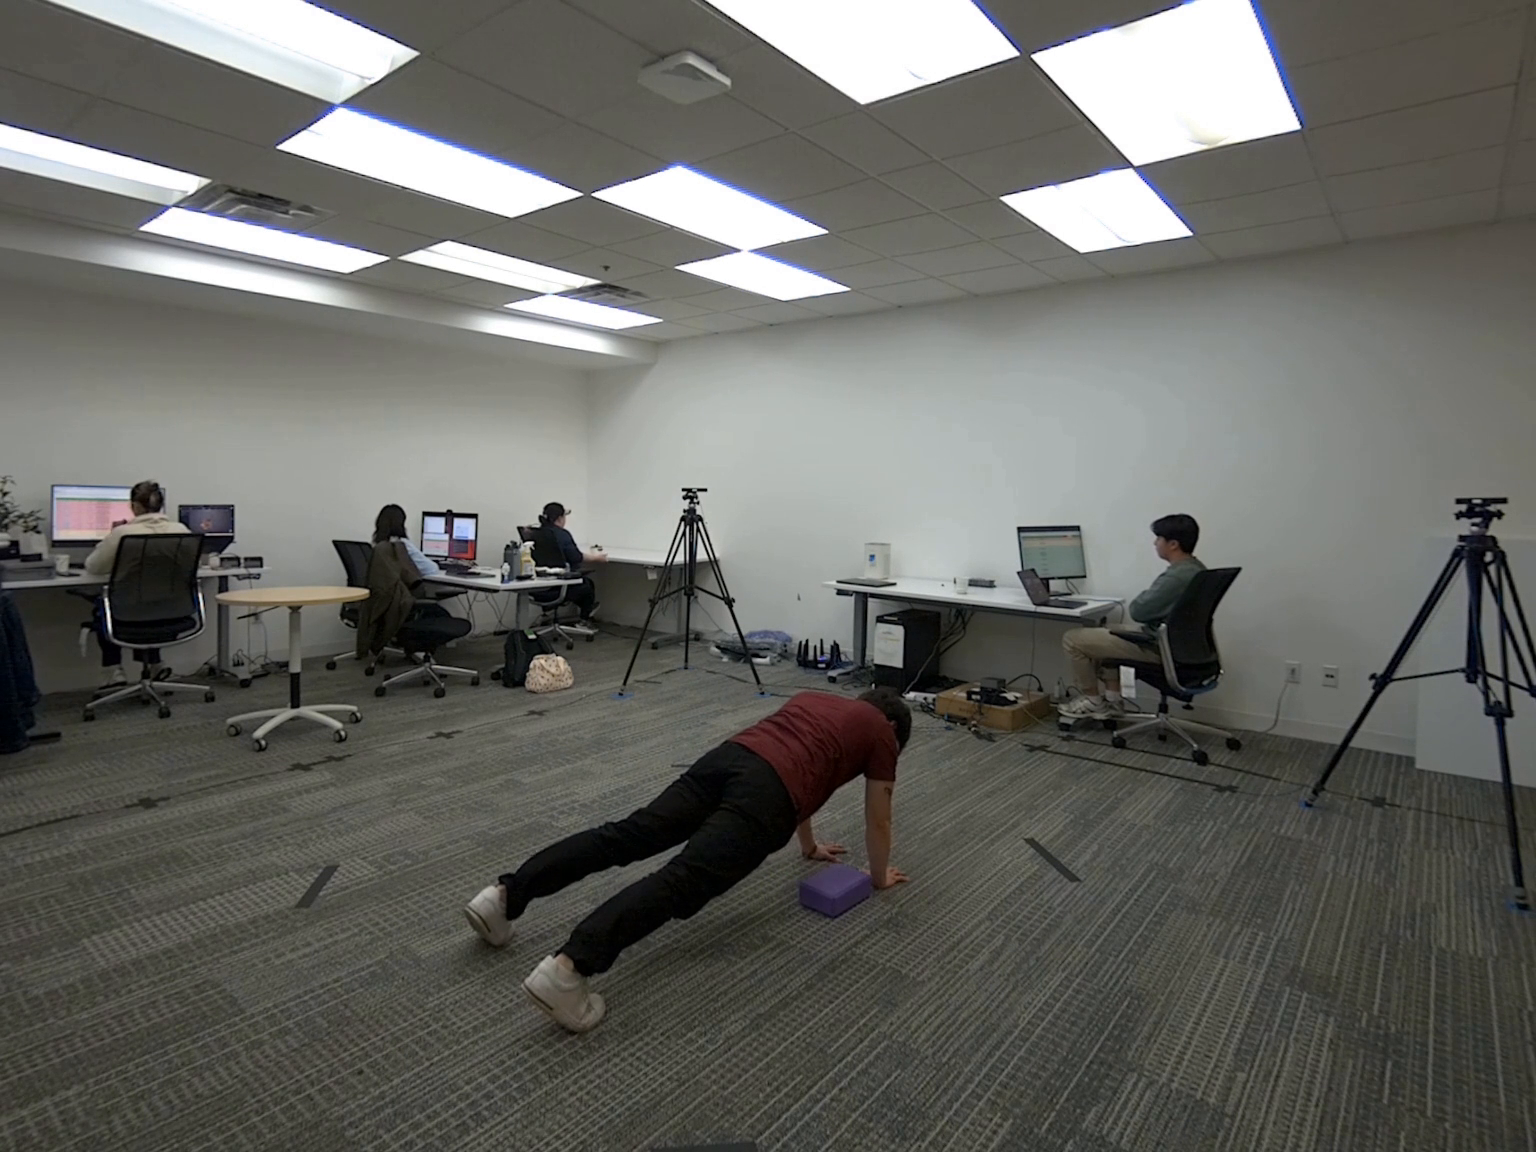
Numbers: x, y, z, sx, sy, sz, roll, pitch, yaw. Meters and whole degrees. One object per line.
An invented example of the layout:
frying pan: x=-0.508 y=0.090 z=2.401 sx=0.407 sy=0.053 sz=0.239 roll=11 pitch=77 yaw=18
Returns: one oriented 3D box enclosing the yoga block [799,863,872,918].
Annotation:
yoga block: x=0.221 y=1.059 z=2.888 sx=0.154 sy=0.076 sz=0.222 roll=6 pitch=7 yaw=39
